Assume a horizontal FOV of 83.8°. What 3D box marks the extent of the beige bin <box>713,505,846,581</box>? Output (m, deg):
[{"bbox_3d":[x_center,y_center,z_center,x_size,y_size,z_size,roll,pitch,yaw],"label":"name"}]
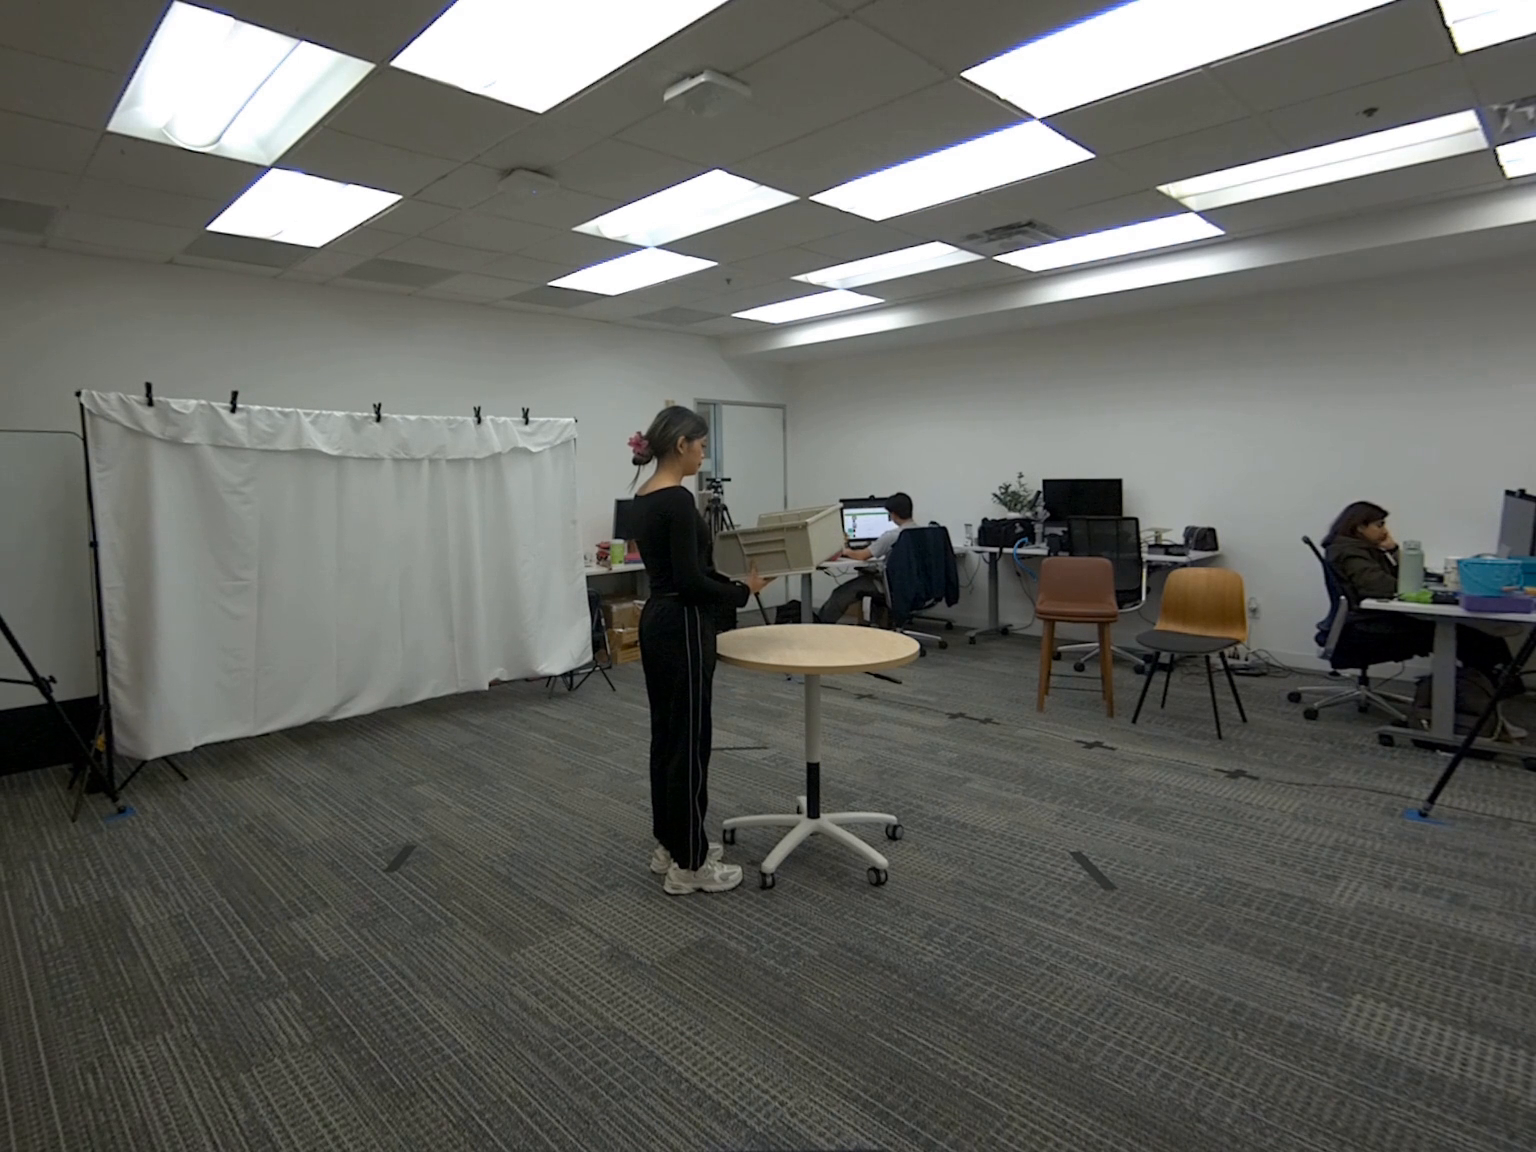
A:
[{"bbox_3d":[0.051,-0.120,3.134,0.385,0.187,0.417,-6,9,24],"label":"beige bin"}]
